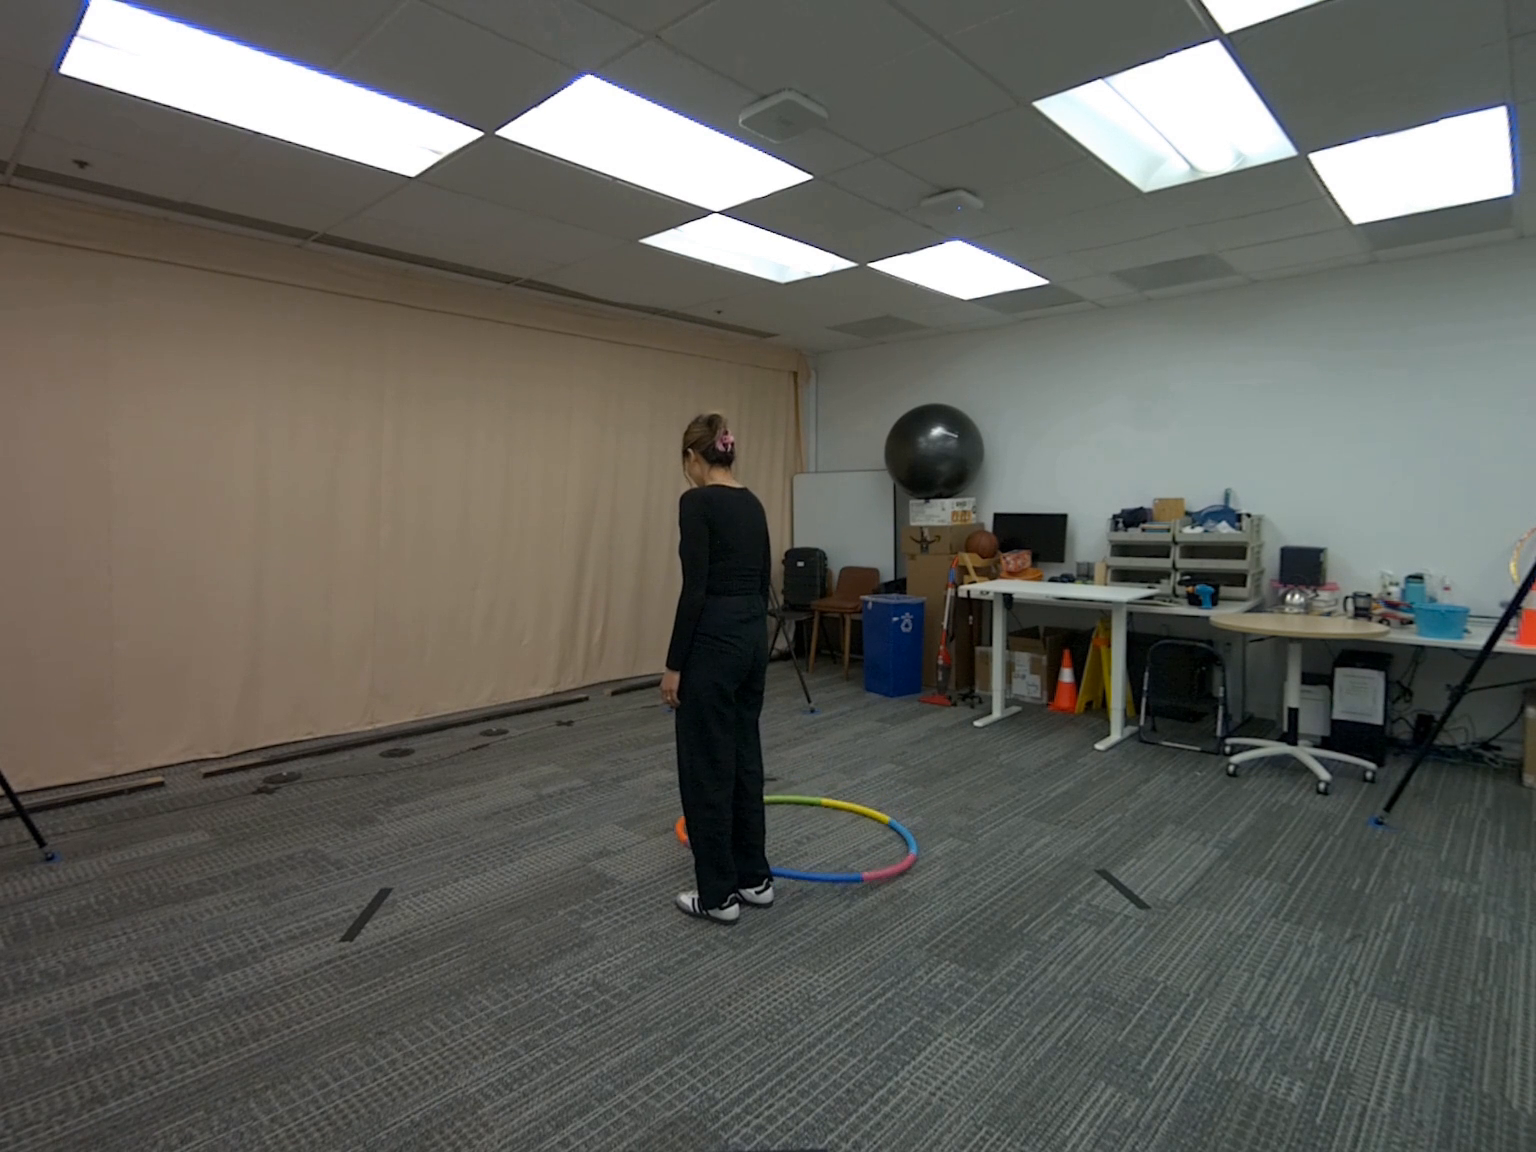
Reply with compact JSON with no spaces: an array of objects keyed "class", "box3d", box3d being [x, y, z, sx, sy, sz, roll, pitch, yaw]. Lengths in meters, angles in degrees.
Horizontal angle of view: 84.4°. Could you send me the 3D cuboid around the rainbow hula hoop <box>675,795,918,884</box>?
[{"class":"rainbow hula hoop","box3d":[0.113,1.050,3.469,0.984,0.051,0.988,0,3,-2]}]
